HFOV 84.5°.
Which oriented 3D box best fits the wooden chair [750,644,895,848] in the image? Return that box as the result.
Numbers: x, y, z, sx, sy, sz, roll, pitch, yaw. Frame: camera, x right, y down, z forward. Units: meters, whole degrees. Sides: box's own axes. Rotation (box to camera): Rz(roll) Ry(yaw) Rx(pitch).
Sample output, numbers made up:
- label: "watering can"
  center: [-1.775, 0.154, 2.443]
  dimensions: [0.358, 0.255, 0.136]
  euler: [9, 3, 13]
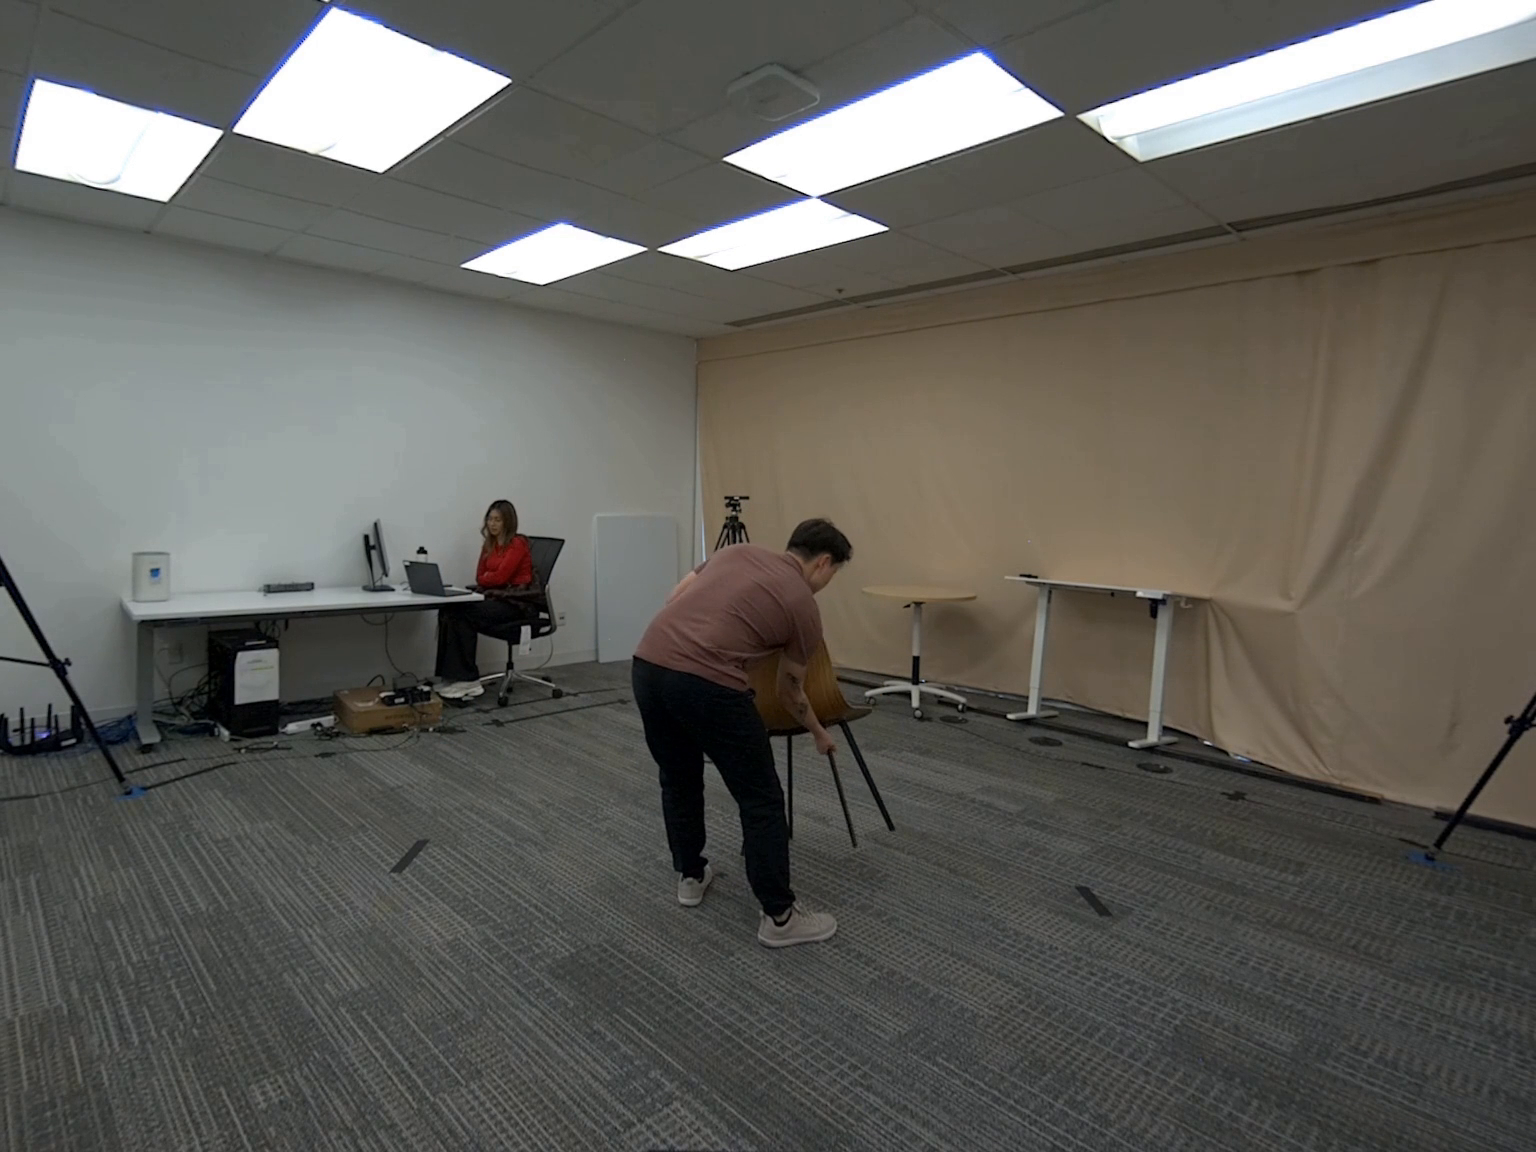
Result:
- label: "wooden chair"
  center: [0.140, 0.591, 3.267]
  dimensions: [0.484, 0.885, 0.511]
  euler: [-14, -11, 25]
